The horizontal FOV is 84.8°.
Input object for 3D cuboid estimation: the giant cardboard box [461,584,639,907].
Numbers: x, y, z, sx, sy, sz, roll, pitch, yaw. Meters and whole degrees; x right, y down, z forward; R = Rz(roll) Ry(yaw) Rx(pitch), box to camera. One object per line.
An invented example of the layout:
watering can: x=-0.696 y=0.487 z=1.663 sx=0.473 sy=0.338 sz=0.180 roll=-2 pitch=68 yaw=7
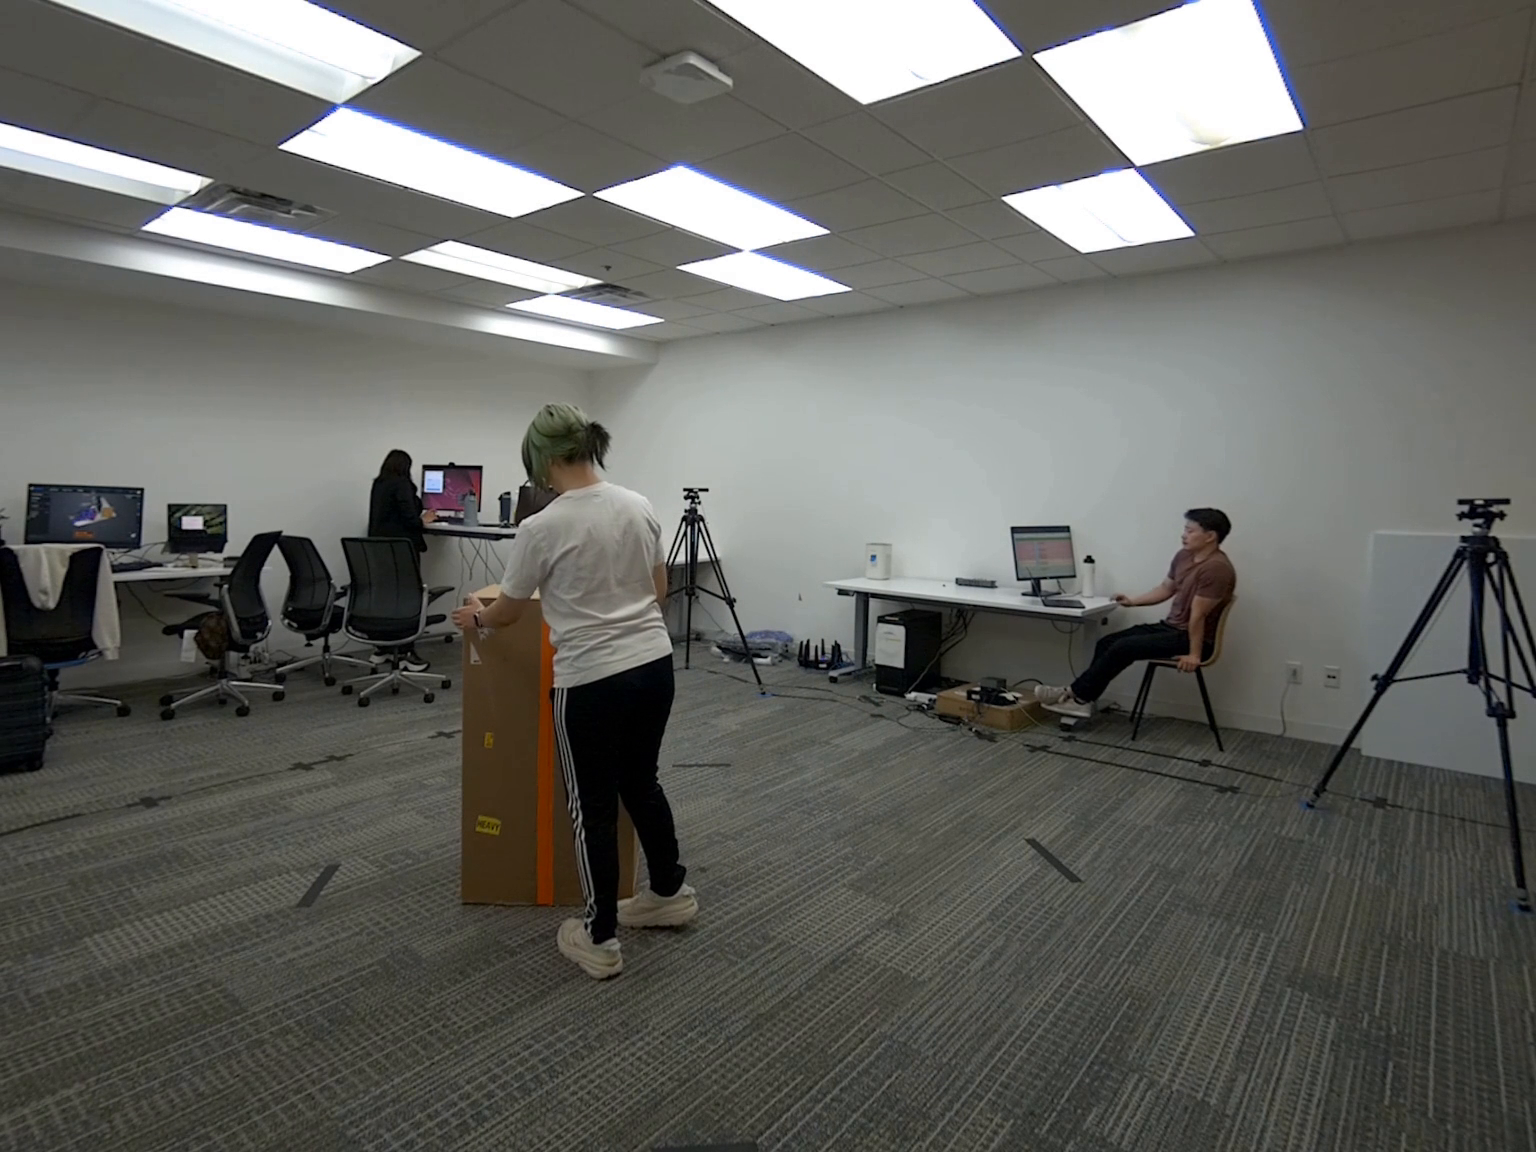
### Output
giant cardboard box: x=-0.757 y=0.566 z=3.005 sx=0.576 sy=1.023 sz=0.428 roll=1 pitch=3 yaw=-2
